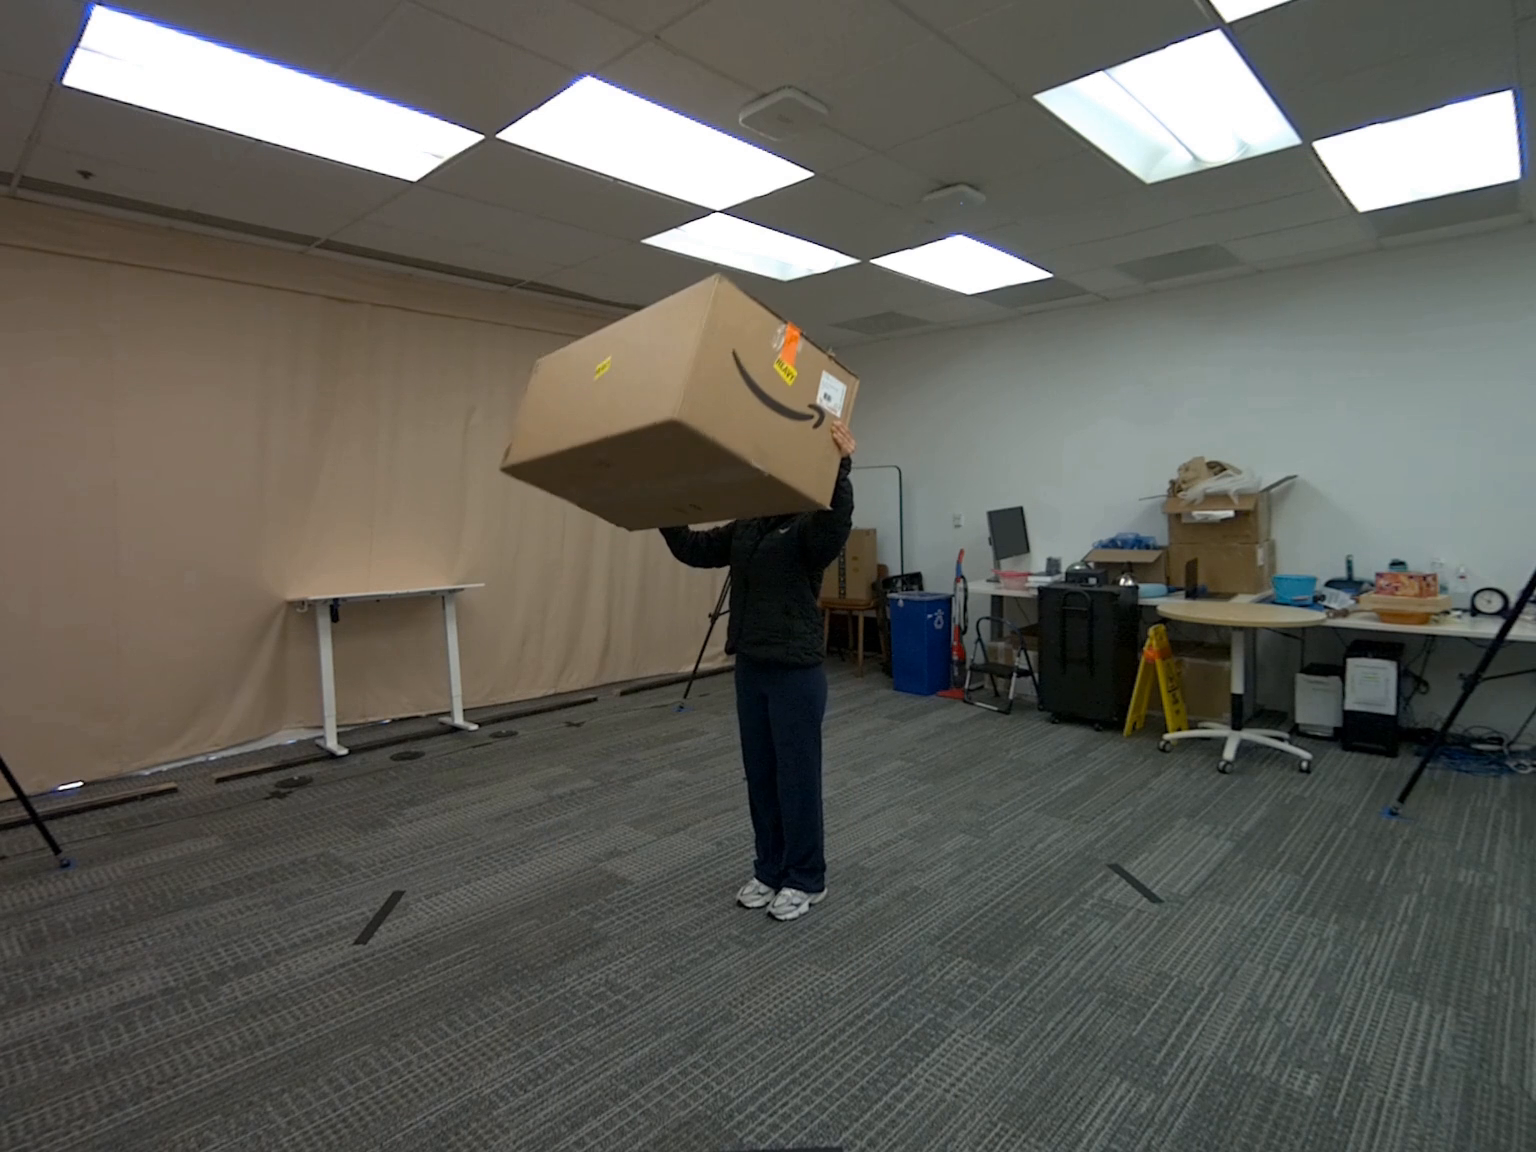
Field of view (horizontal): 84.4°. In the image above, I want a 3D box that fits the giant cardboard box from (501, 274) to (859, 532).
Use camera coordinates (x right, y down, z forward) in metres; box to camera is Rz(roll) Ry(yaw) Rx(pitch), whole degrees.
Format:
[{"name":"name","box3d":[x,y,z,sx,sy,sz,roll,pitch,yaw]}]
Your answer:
[{"name":"giant cardboard box","box3d":[-0.299,-0.451,2.651,0.563,0.449,1.058,28,-20,-37]}]
